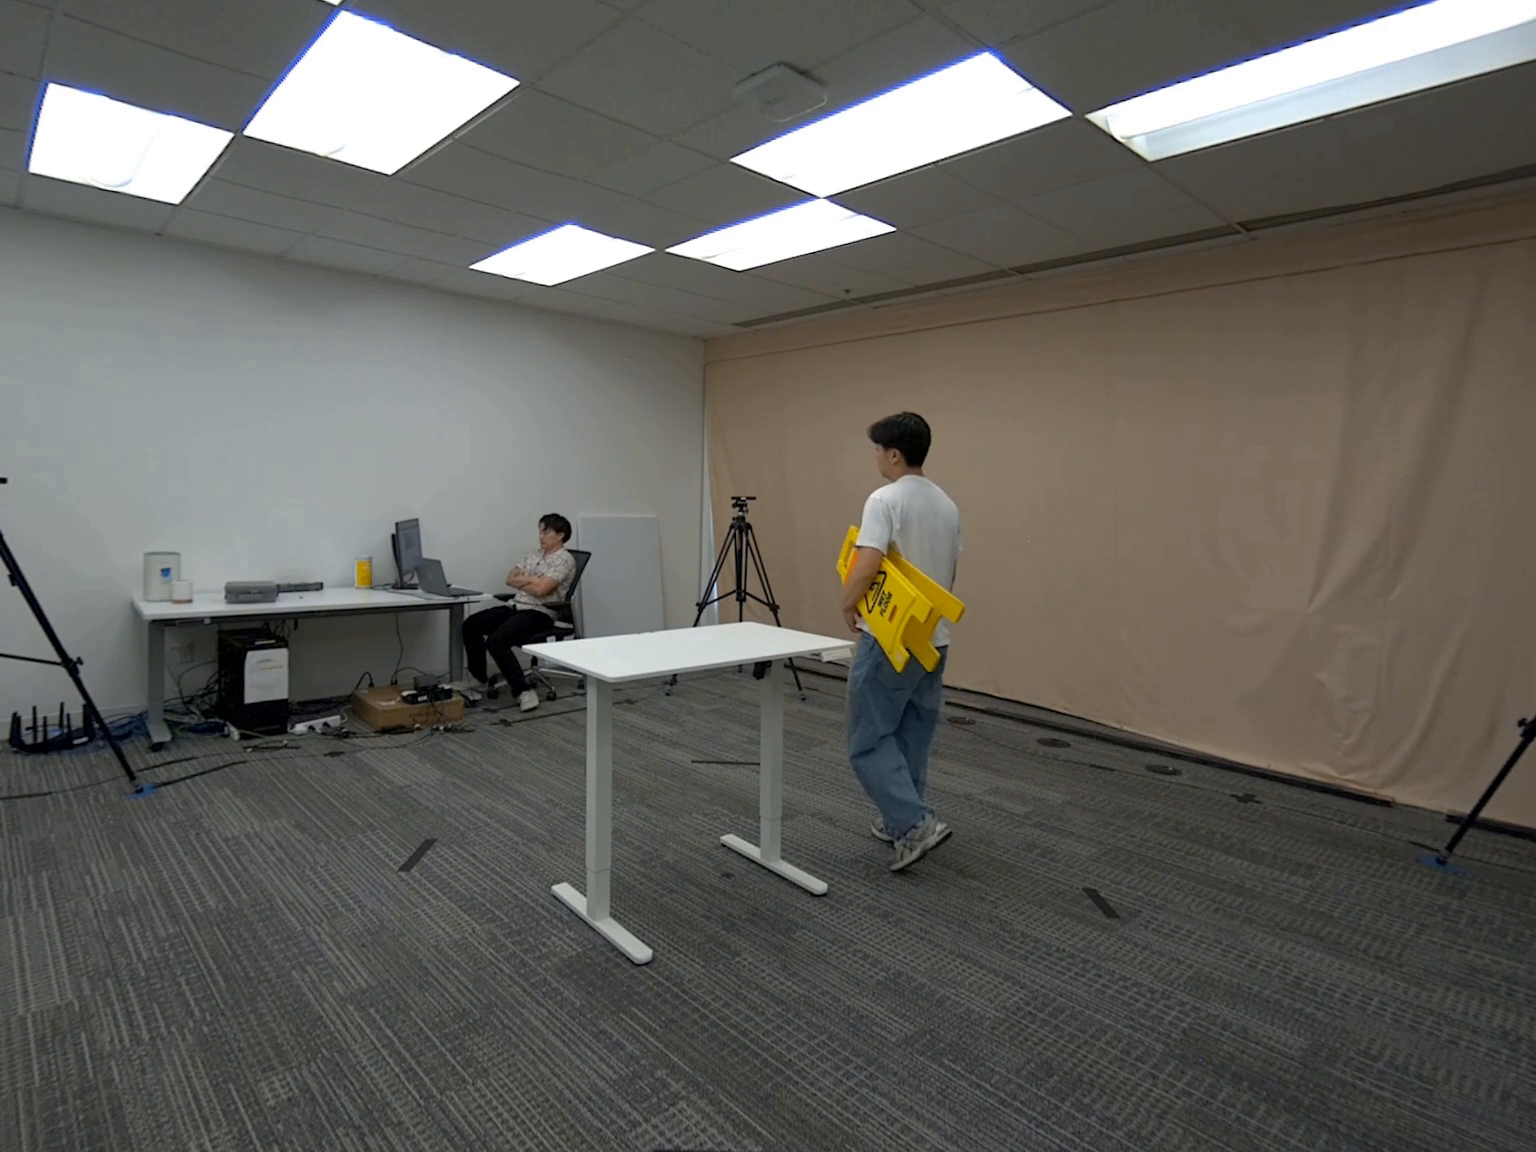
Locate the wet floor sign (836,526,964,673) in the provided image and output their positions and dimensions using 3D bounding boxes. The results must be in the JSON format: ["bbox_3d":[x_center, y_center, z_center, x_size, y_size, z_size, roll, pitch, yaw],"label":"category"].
[{"bbox_3d":[0.419,0.053,3.115,0.284,0.279,0.666,2,30,-27],"label":"wet floor sign"}]
